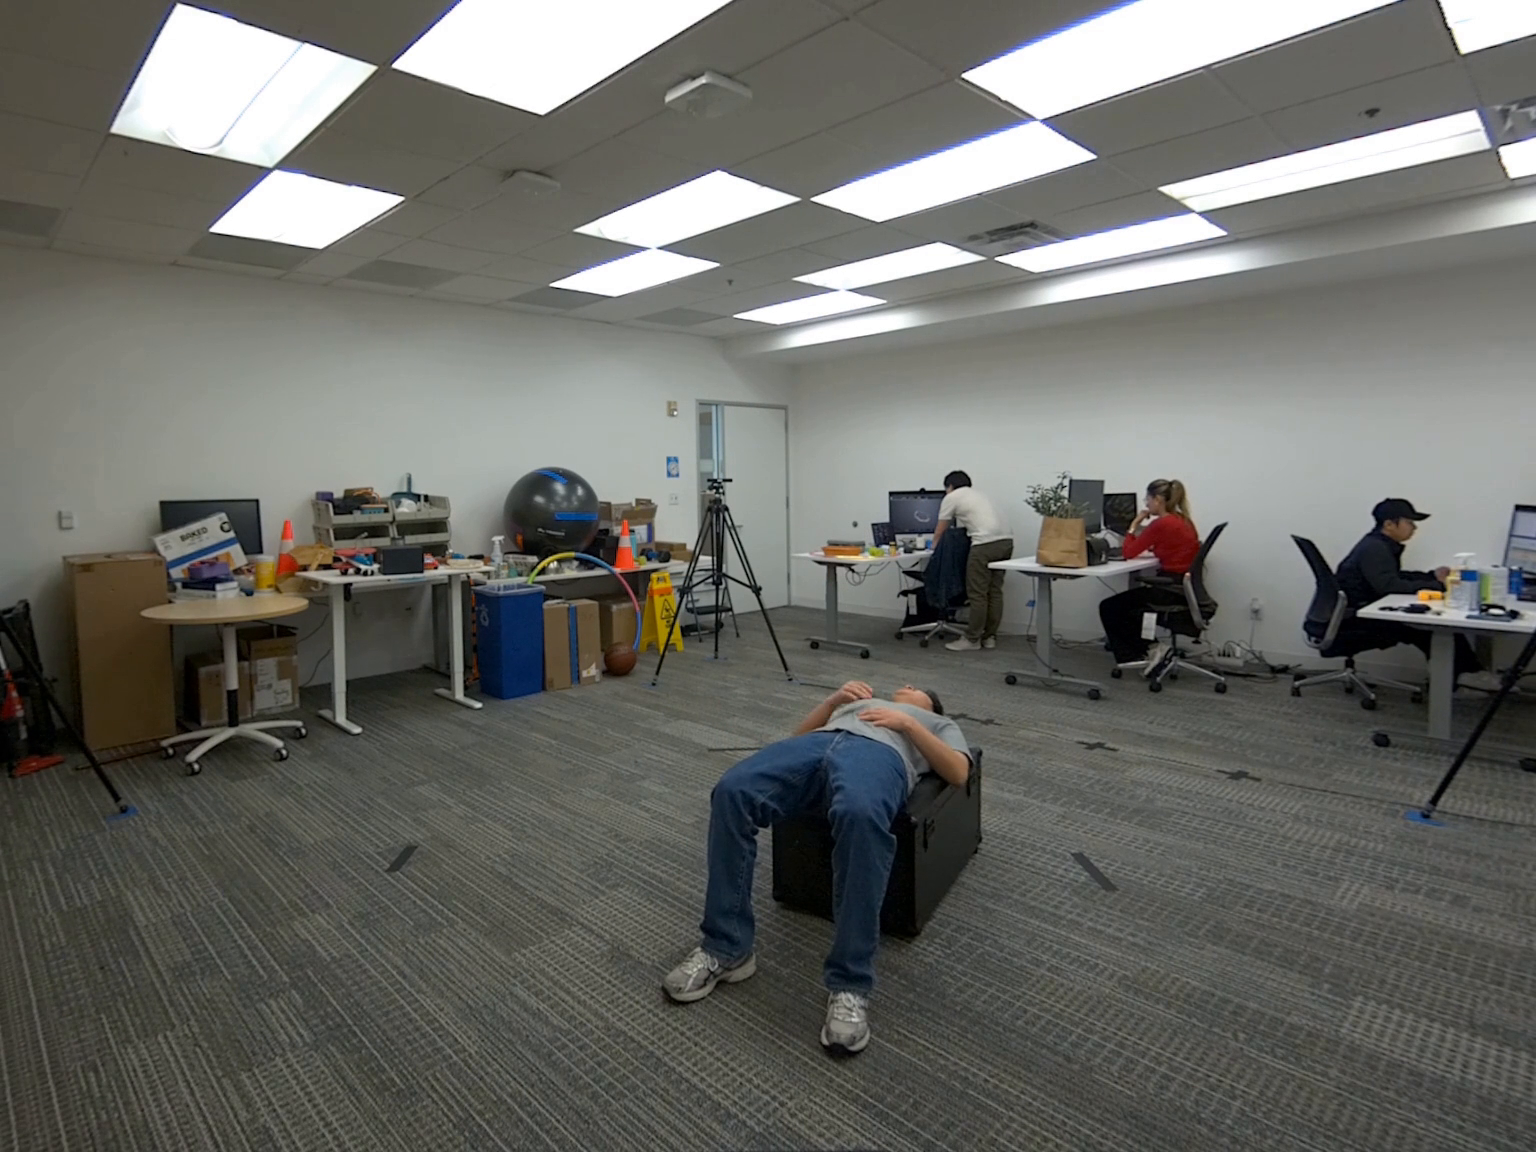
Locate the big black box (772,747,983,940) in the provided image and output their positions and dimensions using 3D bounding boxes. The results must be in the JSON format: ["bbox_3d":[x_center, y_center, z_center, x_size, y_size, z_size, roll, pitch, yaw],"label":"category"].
[{"bbox_3d":[0.425,0.866,3.009,0.535,0.394,0.843,1,7,29],"label":"big black box"}]
